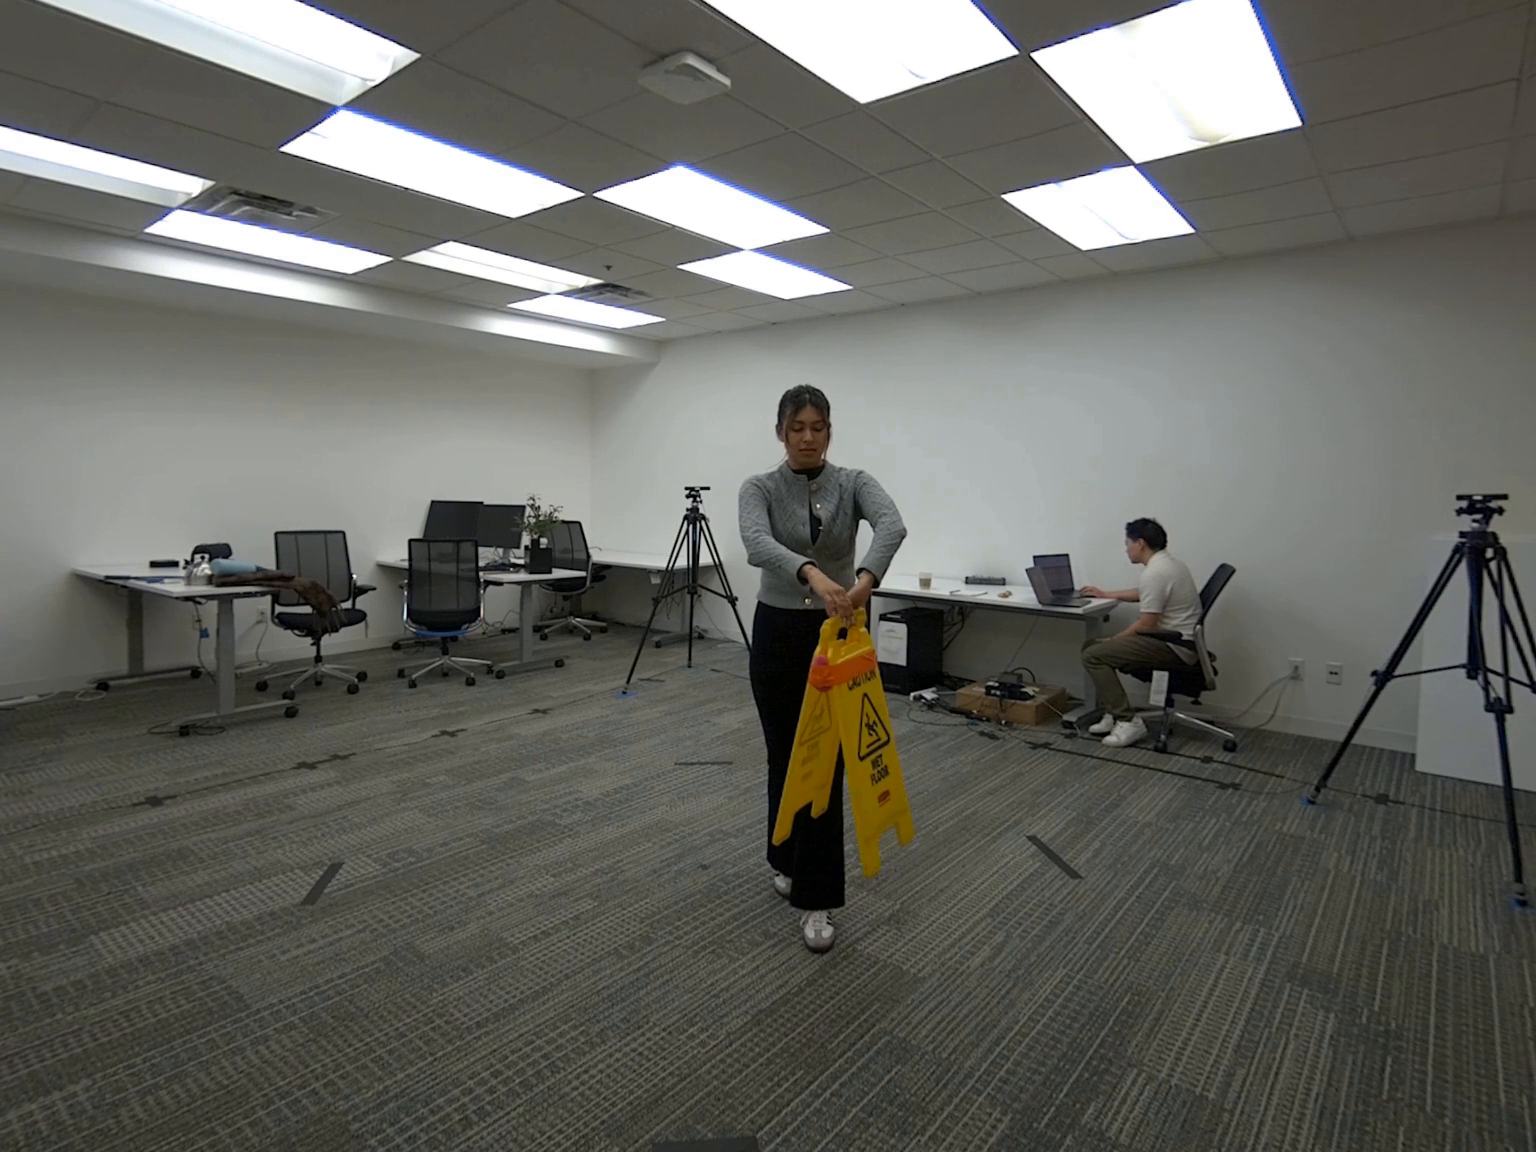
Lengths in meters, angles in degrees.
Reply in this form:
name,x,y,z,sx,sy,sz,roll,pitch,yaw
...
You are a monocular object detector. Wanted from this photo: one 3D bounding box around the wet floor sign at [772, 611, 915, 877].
name,x,y,z,sx,sy,sz,roll,pitch,yaw
wet floor sign,0.200,0.414,2.317,0.299,0.642,0.275,4,8,36
